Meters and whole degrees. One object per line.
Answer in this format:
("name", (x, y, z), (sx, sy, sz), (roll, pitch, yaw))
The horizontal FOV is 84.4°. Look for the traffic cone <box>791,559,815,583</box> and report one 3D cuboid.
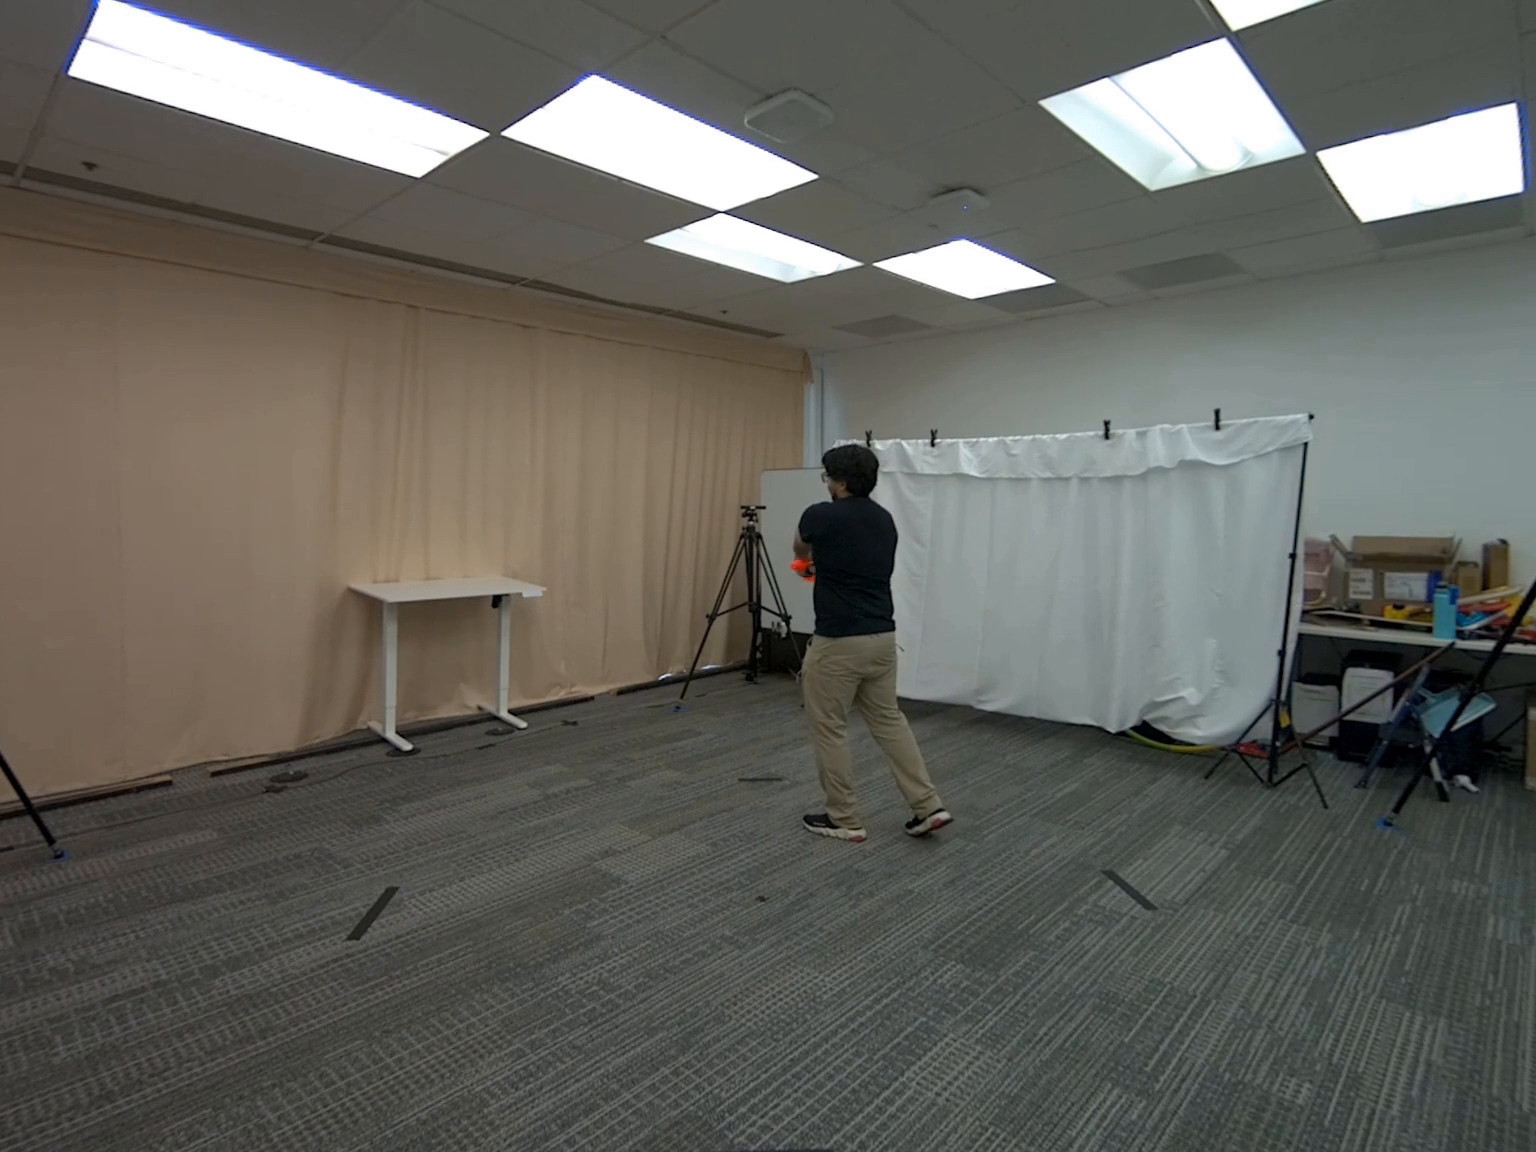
("traffic cone", (0.201, -0.057, 4.038), (0.210, 0.203, 0.375), (5, 4, 22))
